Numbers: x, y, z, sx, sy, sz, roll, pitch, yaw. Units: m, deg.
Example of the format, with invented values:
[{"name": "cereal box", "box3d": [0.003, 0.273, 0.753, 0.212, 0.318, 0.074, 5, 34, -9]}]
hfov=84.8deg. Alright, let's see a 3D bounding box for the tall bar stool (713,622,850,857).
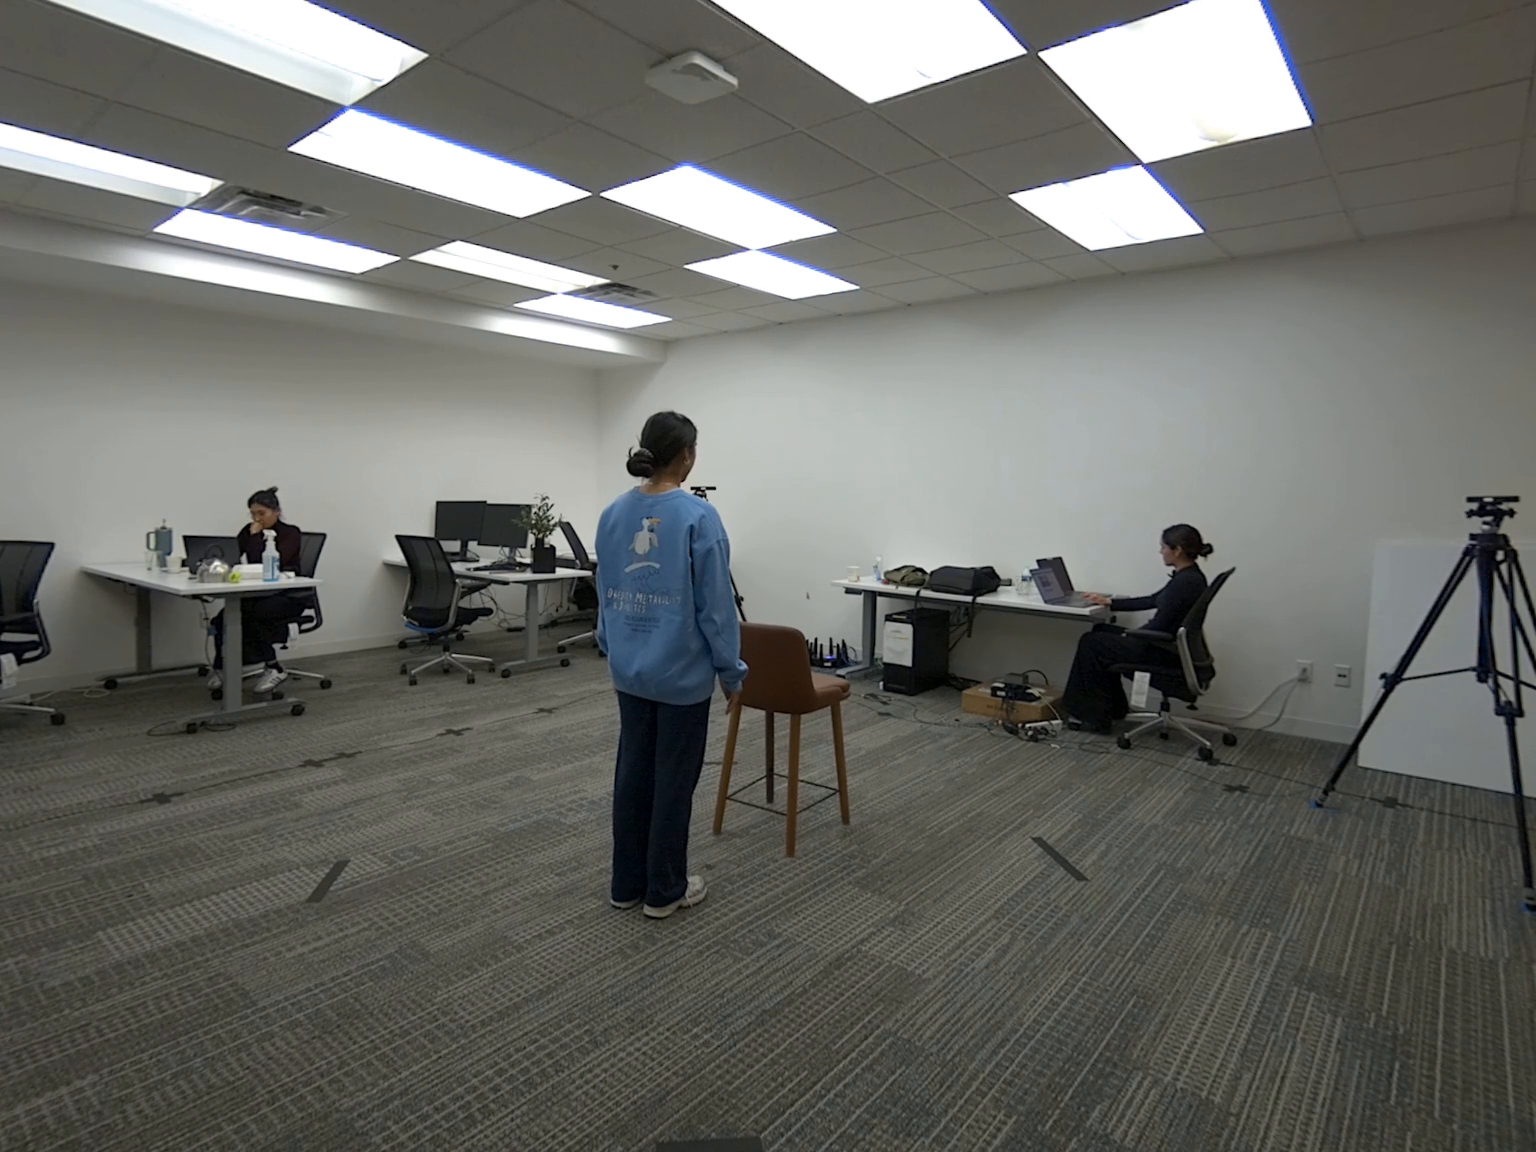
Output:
[{"name": "tall bar stool", "box3d": [0.047, 0.596, 3.468, 0.471, 0.886, 0.455, 3, 6, 35]}]
